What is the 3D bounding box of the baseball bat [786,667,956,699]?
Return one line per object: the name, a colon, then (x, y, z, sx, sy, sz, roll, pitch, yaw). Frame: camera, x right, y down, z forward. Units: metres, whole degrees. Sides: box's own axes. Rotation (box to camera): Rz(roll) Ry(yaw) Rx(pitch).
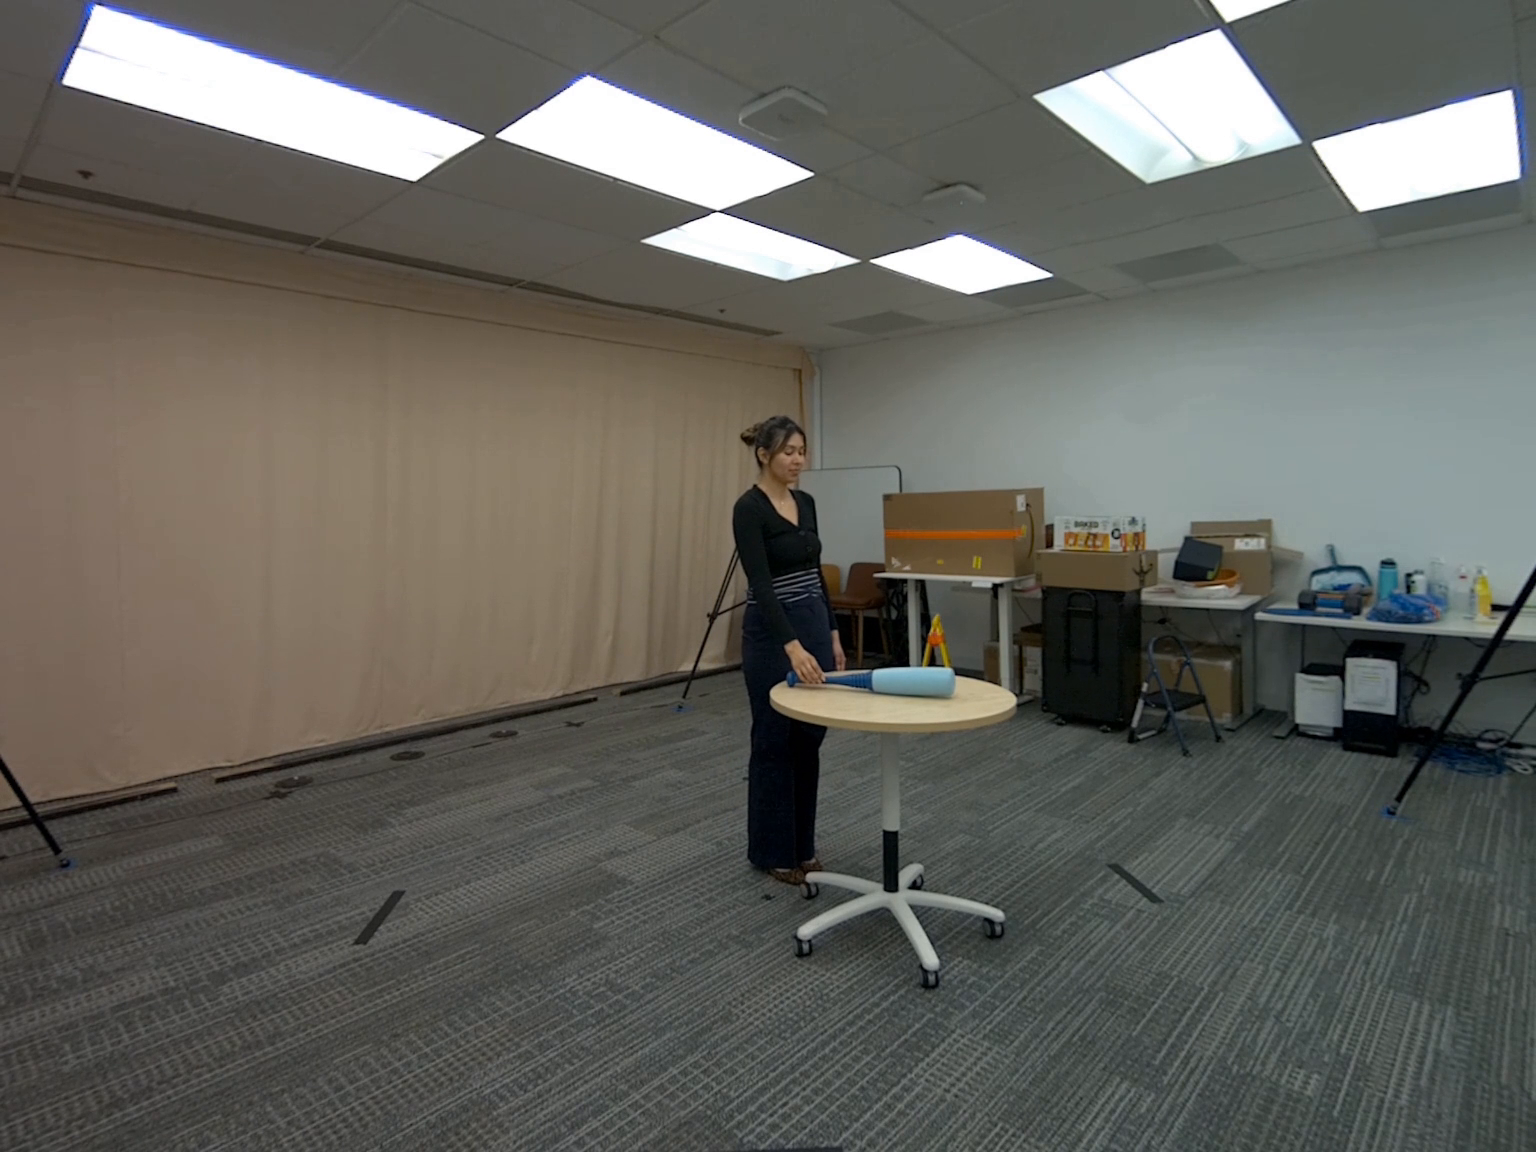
baseball bat: (0.327, 0.337, 2.707, 0.555, 0.089, 0.087, -2, 3, 21)
